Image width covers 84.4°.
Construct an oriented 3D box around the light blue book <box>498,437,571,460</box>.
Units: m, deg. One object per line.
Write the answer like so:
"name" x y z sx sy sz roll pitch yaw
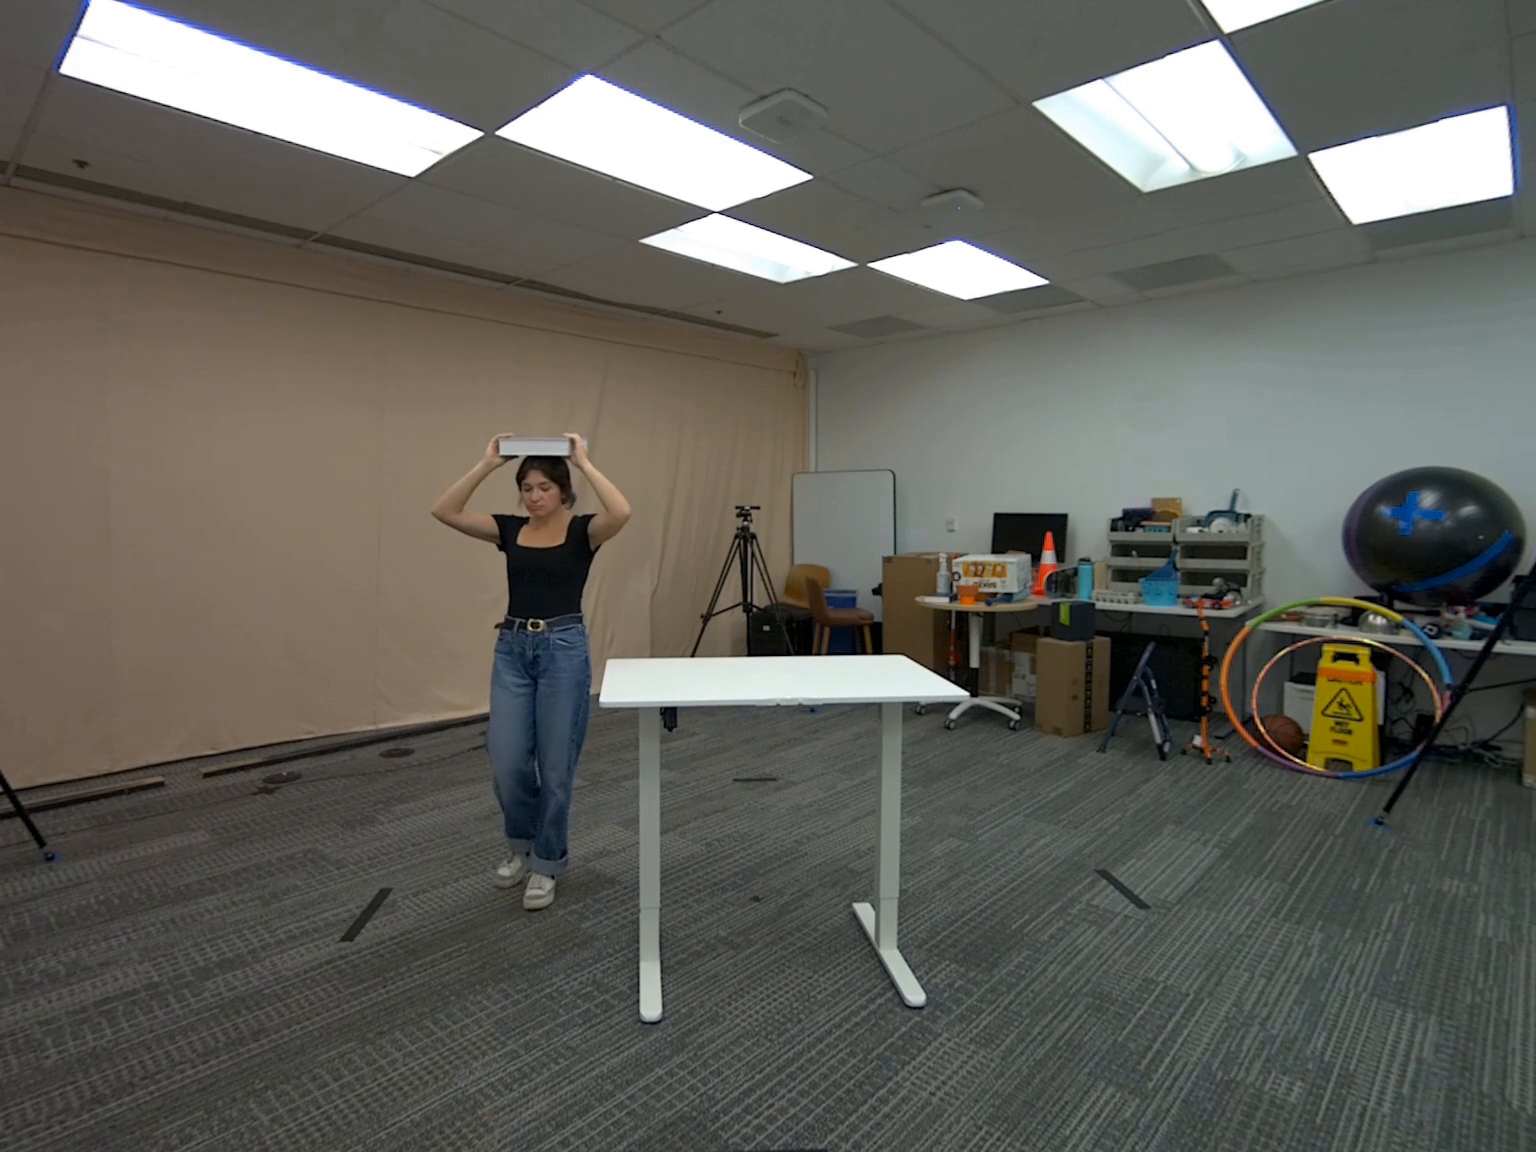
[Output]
"light blue book" -0.805 -0.463 2.984 0.264 0.059 0.190 2 6 9
